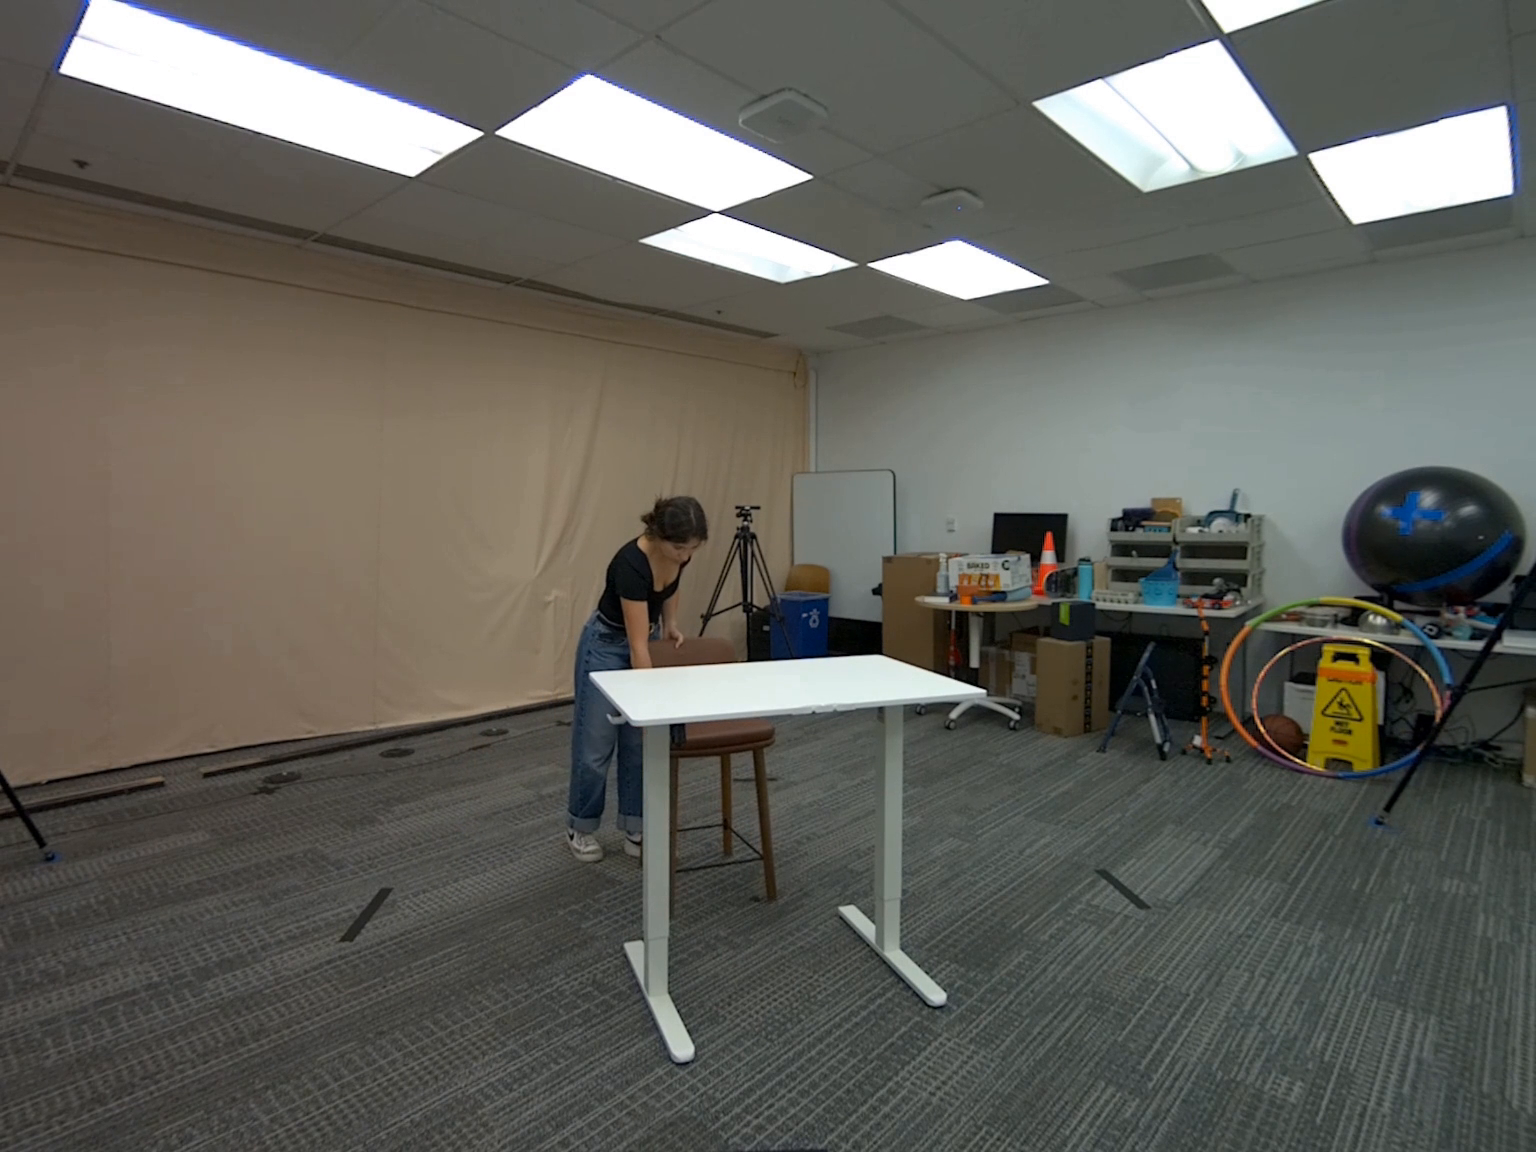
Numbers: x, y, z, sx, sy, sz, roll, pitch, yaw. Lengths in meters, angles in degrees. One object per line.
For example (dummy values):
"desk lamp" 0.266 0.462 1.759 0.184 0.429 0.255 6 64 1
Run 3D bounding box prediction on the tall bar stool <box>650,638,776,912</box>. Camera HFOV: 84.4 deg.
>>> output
"tall bar stool" -0.237 0.697 3.093 0.447 0.889 0.477 -1 1 -20
